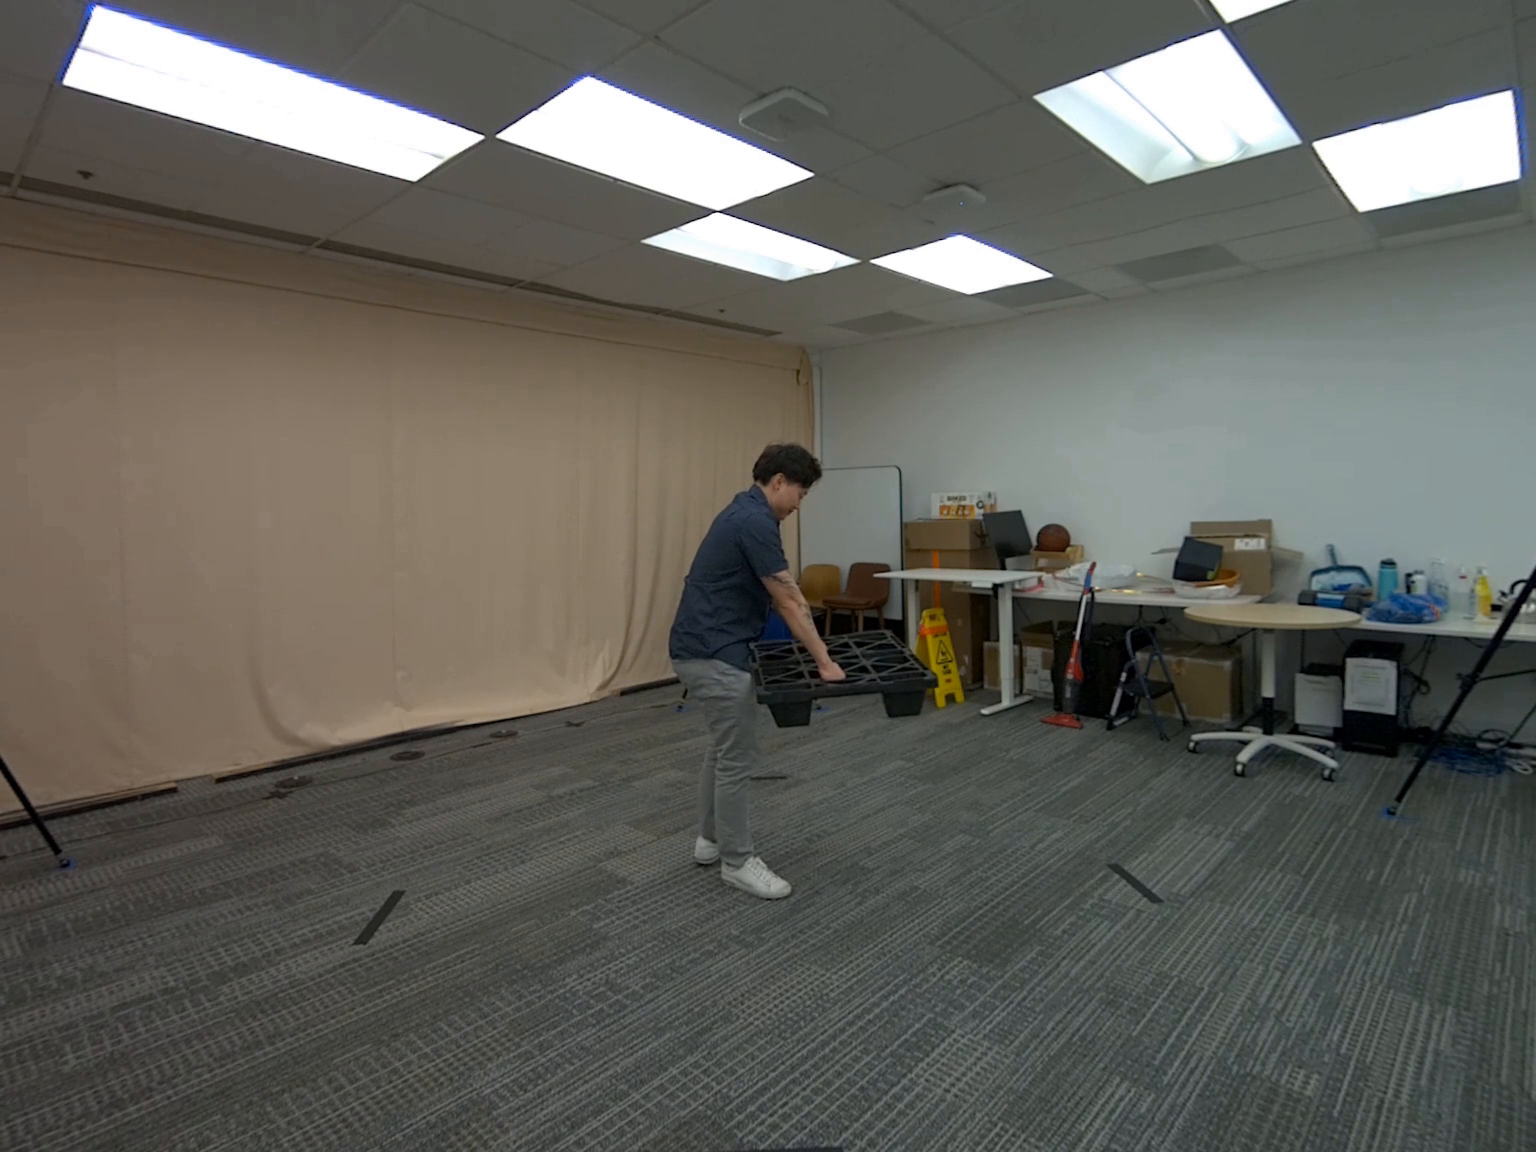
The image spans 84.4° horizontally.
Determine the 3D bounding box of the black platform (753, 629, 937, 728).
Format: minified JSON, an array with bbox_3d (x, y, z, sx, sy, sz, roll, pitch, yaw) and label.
[{"bbox_3d":[0.244,0.379,3.136,0.605,0.142,0.811,-6,8,-2],"label":"black platform"}]
